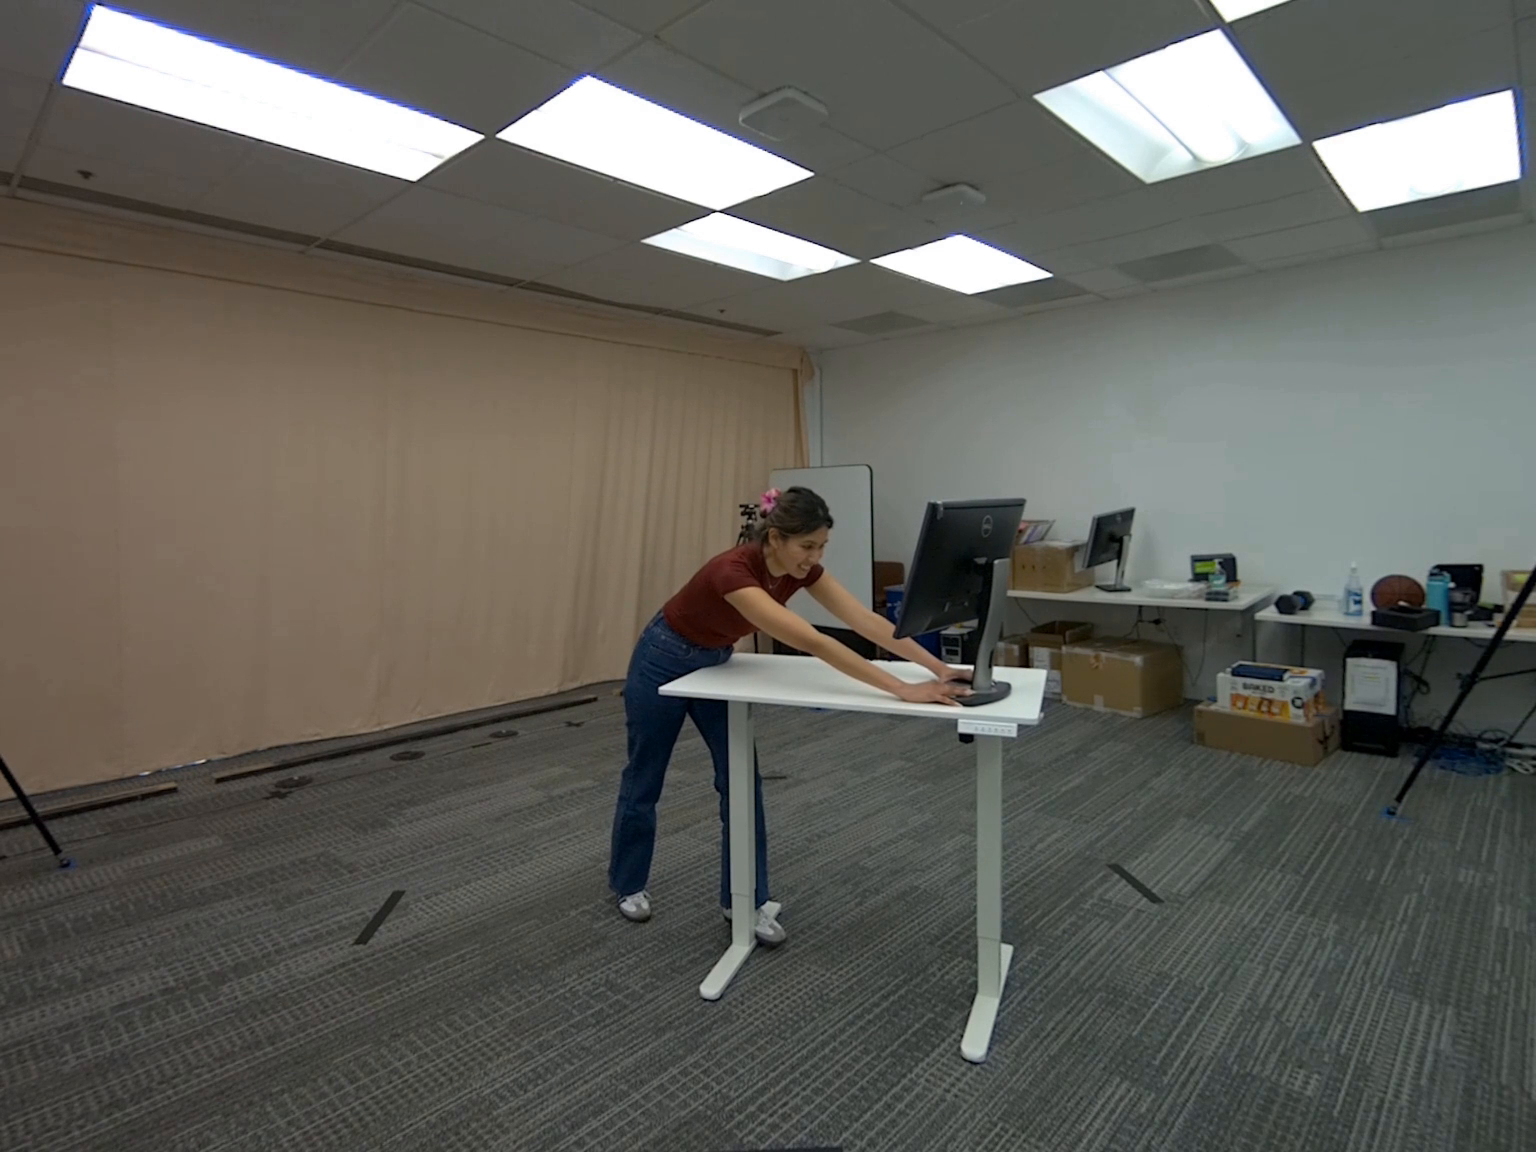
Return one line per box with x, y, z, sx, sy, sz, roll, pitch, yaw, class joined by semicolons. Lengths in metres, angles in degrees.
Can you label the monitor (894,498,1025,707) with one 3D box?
0.539;0.060;2.211;0.193;0.520;0.524;6;8;36;monitor
